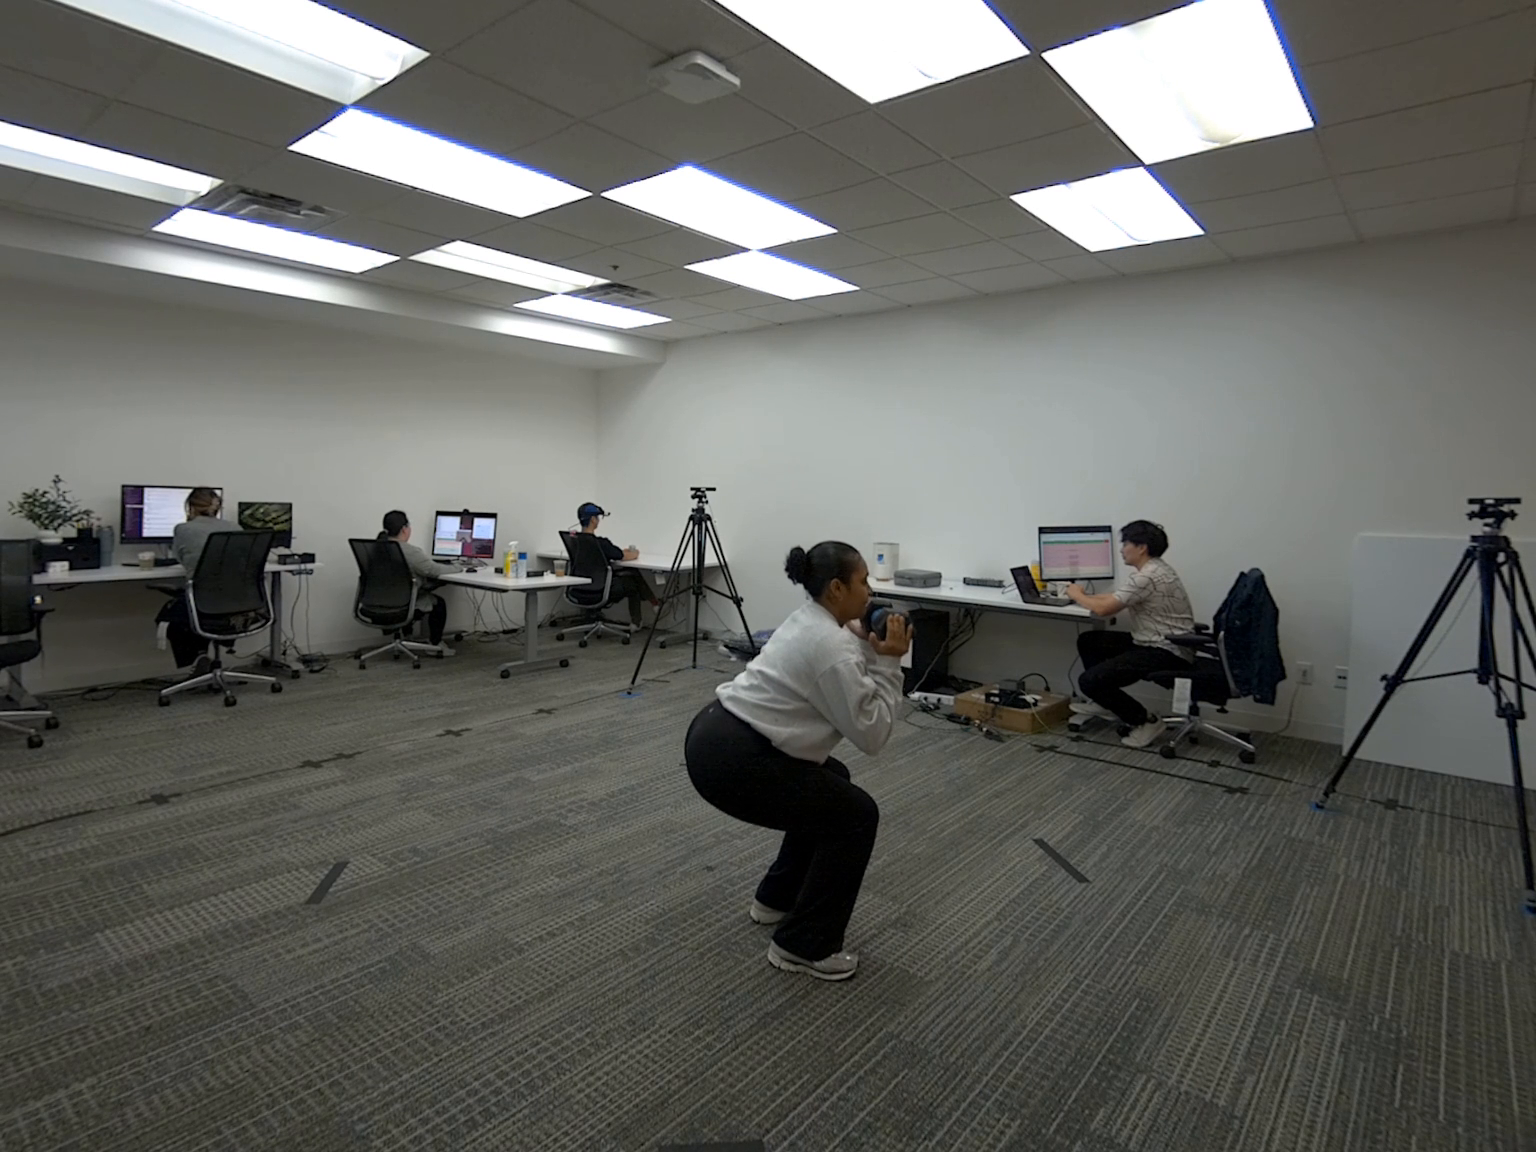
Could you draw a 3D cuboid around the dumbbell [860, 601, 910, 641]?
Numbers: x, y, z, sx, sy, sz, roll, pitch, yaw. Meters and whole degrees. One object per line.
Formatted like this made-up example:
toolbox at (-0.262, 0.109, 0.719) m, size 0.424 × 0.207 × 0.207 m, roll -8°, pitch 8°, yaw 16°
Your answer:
dumbbell at (0.343, 0.129, 2.591) m, size 0.108 × 0.122 × 0.296 m, roll -27°, pitch 8°, yaw -2°
